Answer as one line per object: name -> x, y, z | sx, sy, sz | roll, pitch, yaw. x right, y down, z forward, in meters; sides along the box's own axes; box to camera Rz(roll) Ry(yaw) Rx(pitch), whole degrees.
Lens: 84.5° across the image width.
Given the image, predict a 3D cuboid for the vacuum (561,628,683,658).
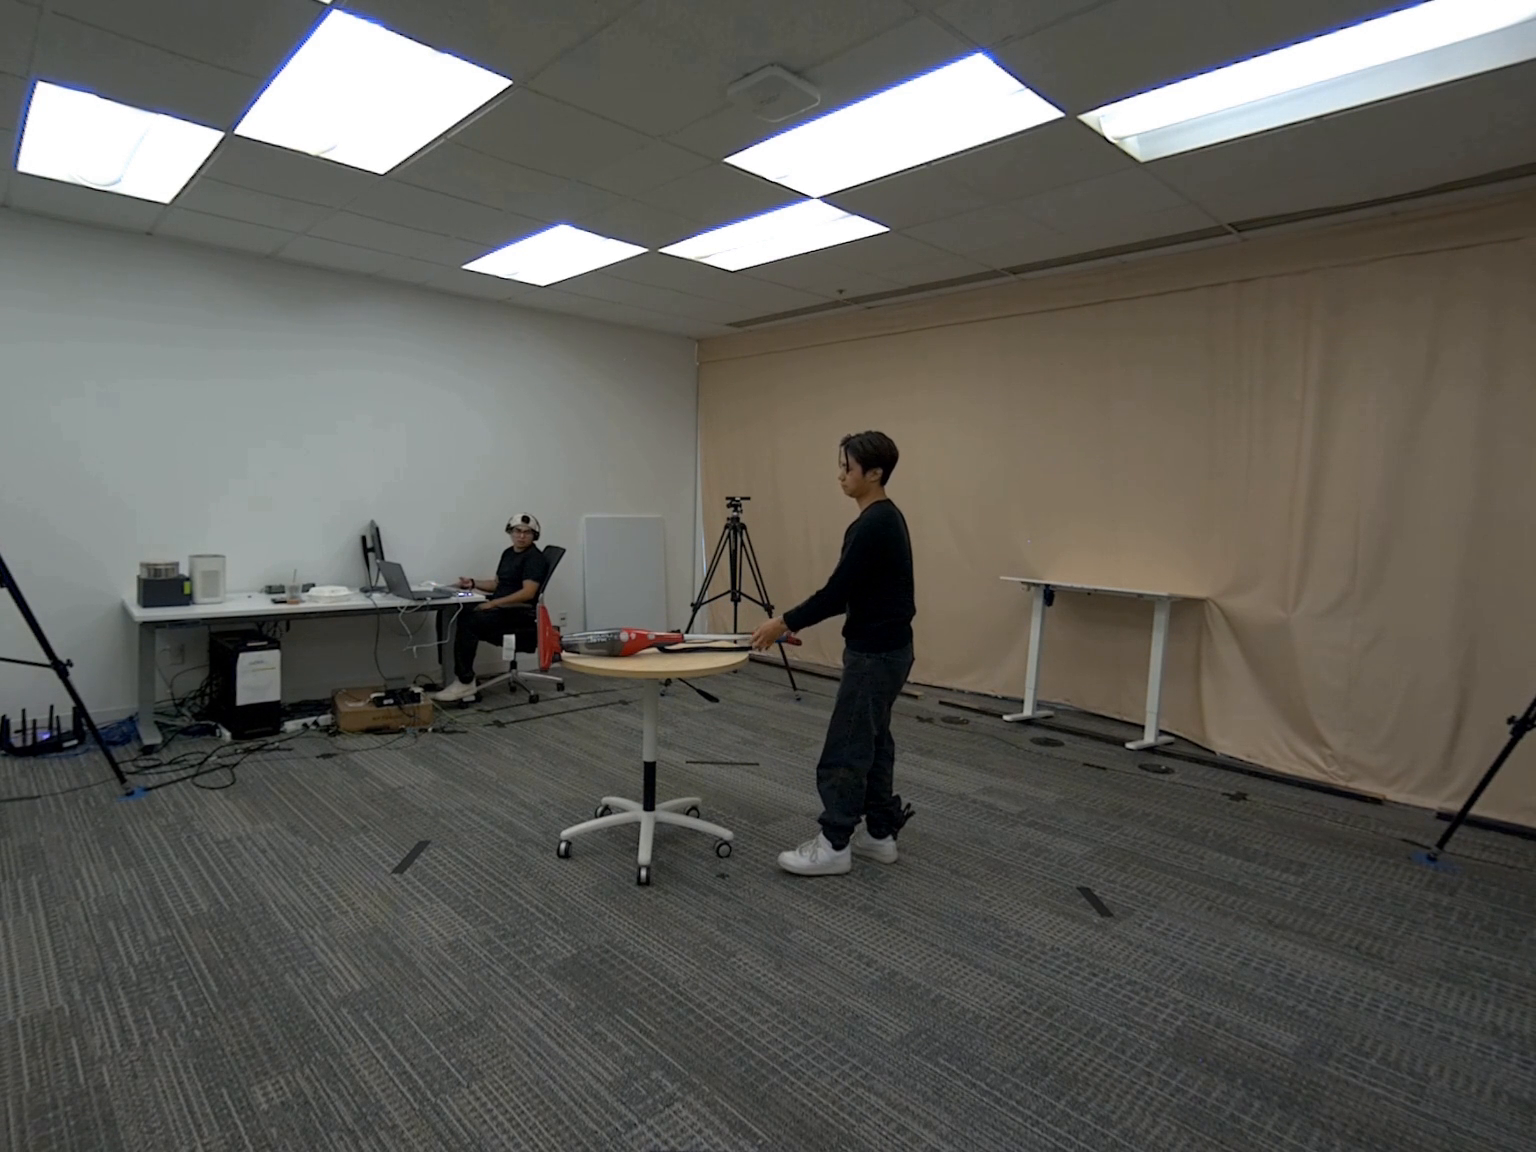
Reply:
vacuum -> -0.354, 0.262, 3.275 | 1.030, 0.257, 0.144 | 4, -26, -23
